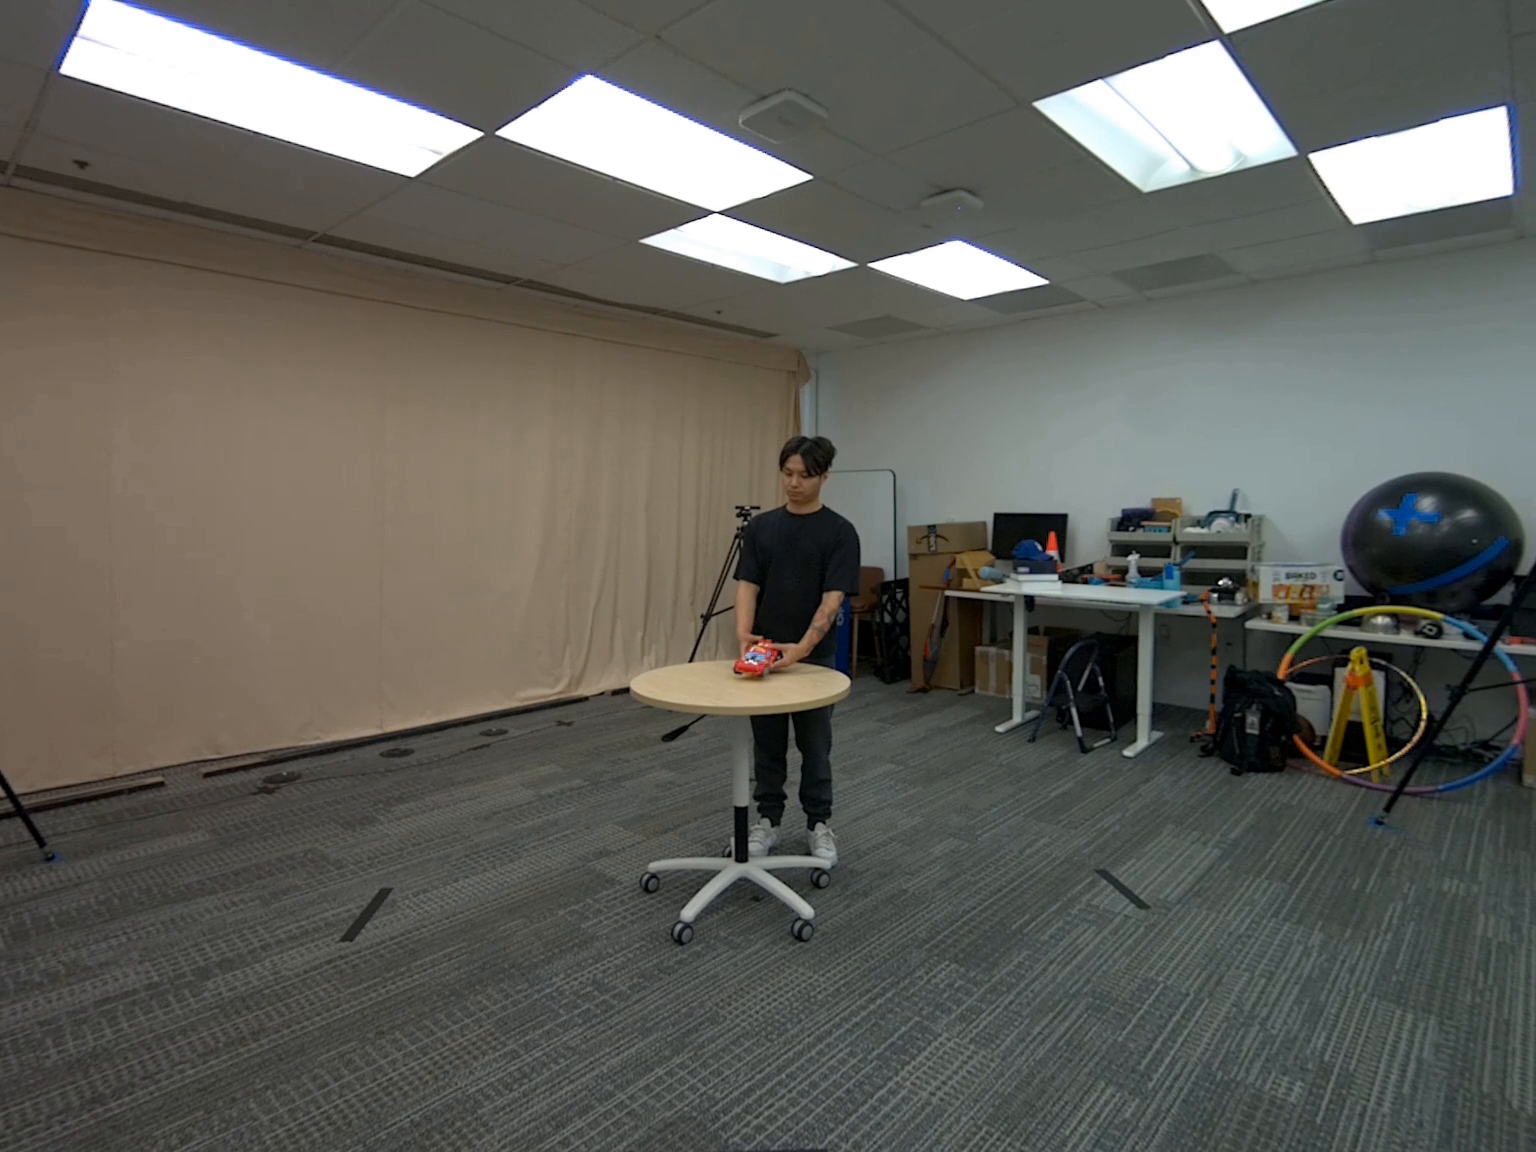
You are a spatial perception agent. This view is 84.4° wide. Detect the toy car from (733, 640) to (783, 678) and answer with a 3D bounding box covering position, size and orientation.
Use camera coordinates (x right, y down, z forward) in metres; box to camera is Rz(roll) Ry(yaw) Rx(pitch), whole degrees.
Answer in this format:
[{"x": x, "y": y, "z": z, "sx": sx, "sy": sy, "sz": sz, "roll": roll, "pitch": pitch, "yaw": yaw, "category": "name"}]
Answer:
[{"x": -0.037, "y": 0.300, "z": 3.029, "sx": 0.133, "sy": 0.082, "sz": 0.253, "roll": 4, "pitch": 24, "yaw": 18, "category": "toy car"}]
